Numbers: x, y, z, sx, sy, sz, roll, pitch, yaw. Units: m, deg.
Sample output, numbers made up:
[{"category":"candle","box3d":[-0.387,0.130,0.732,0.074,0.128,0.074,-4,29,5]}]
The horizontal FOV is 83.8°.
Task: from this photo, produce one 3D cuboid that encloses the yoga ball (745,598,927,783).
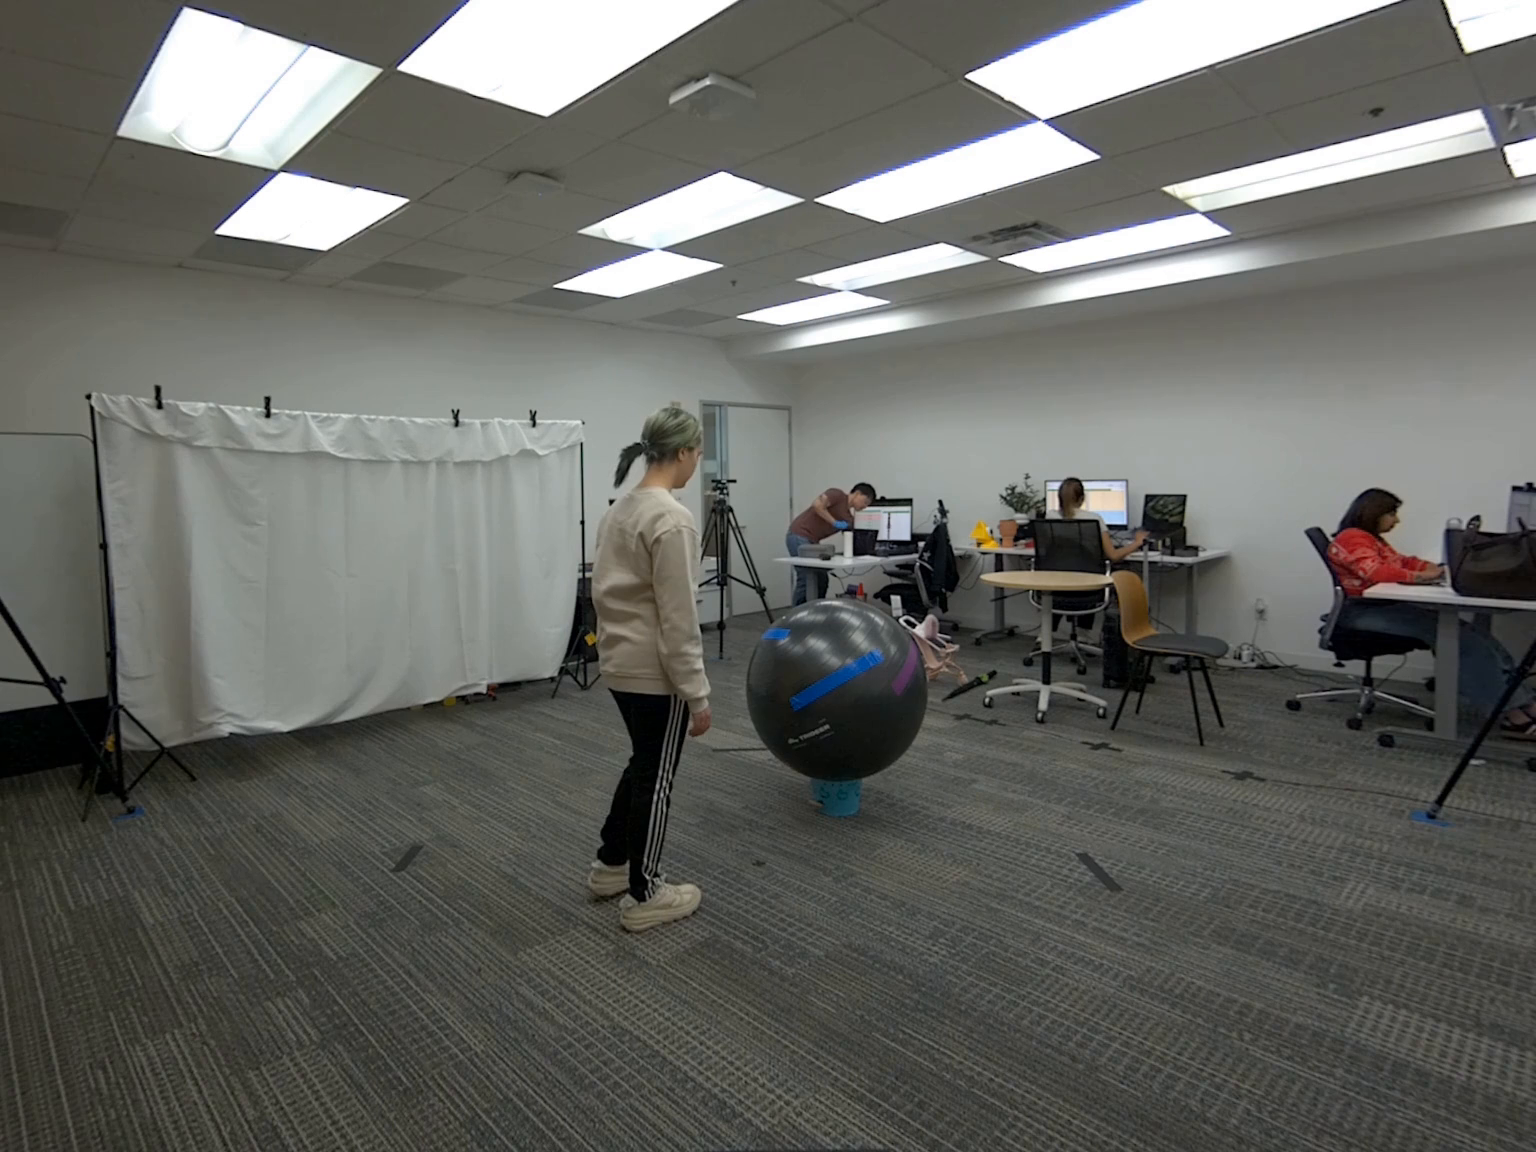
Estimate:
[{"category":"yoga ball","box3d":[0.286,0.475,3.596,0.757,0.755,0.762,-1,5,-2]}]
